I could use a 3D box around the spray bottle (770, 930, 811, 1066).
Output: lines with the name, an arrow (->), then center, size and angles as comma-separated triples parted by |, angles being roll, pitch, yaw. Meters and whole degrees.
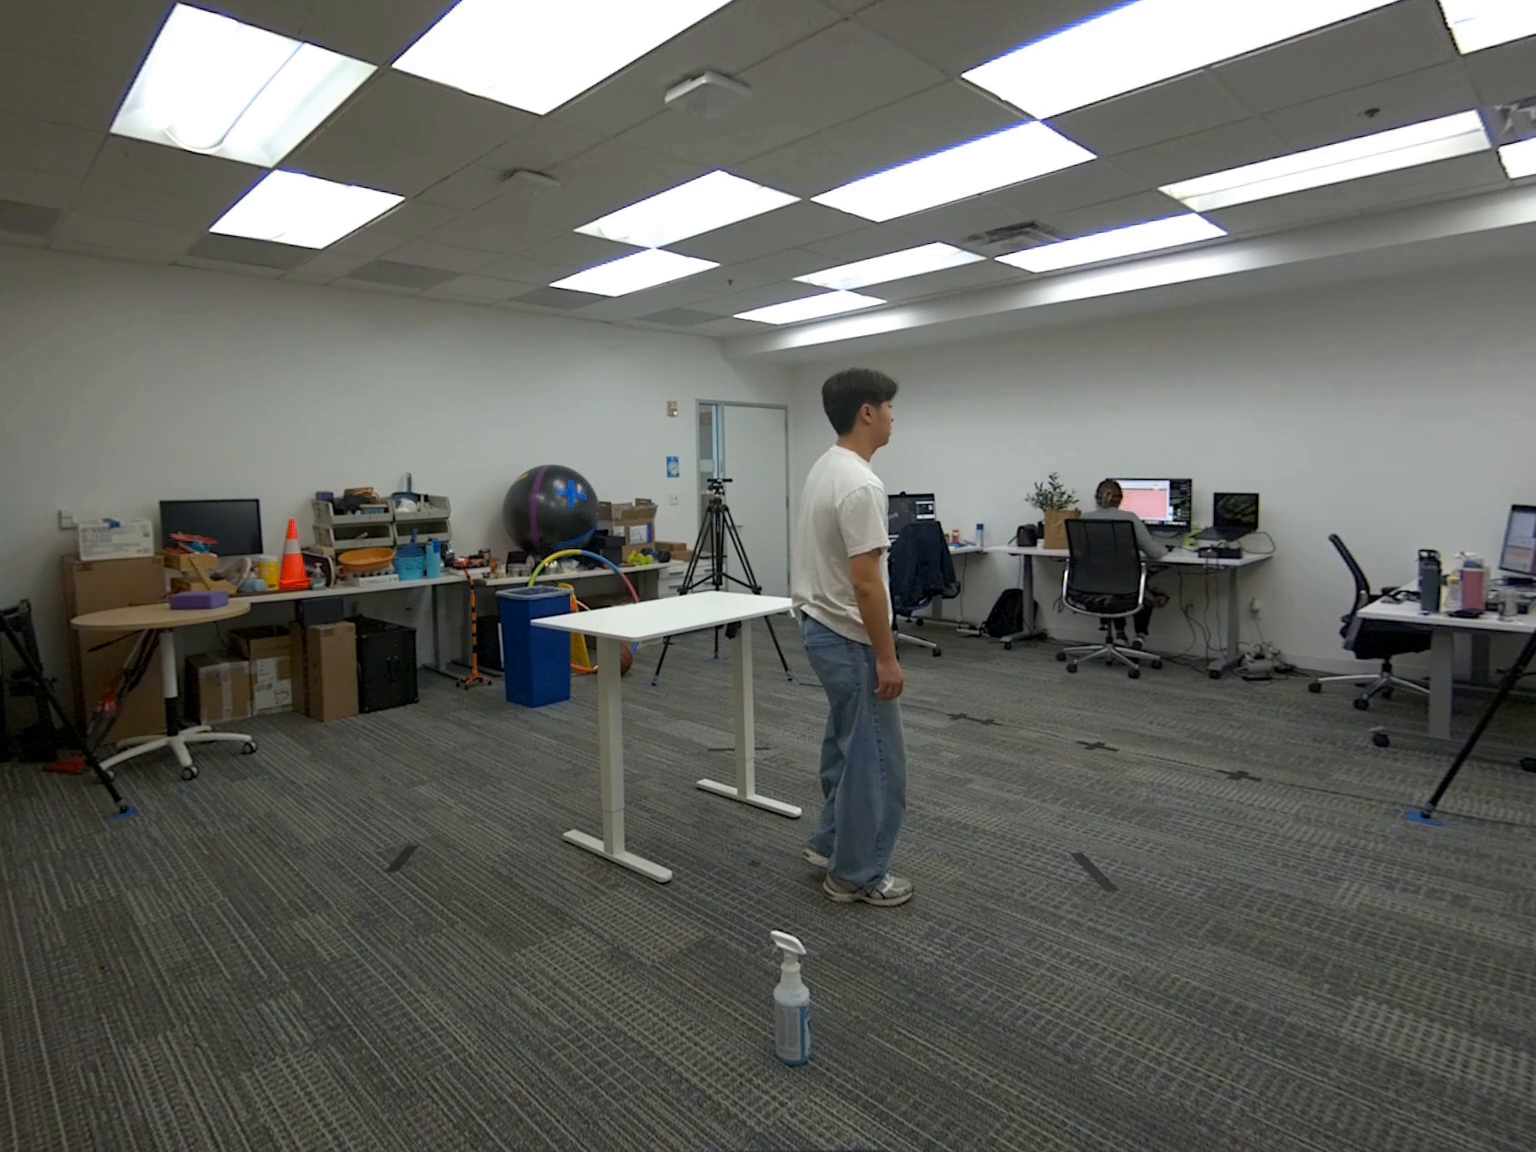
spray bottle -> 0.066, 1.027, 2.058 | 0.085, 0.296, 0.092 | -5, 4, -36
